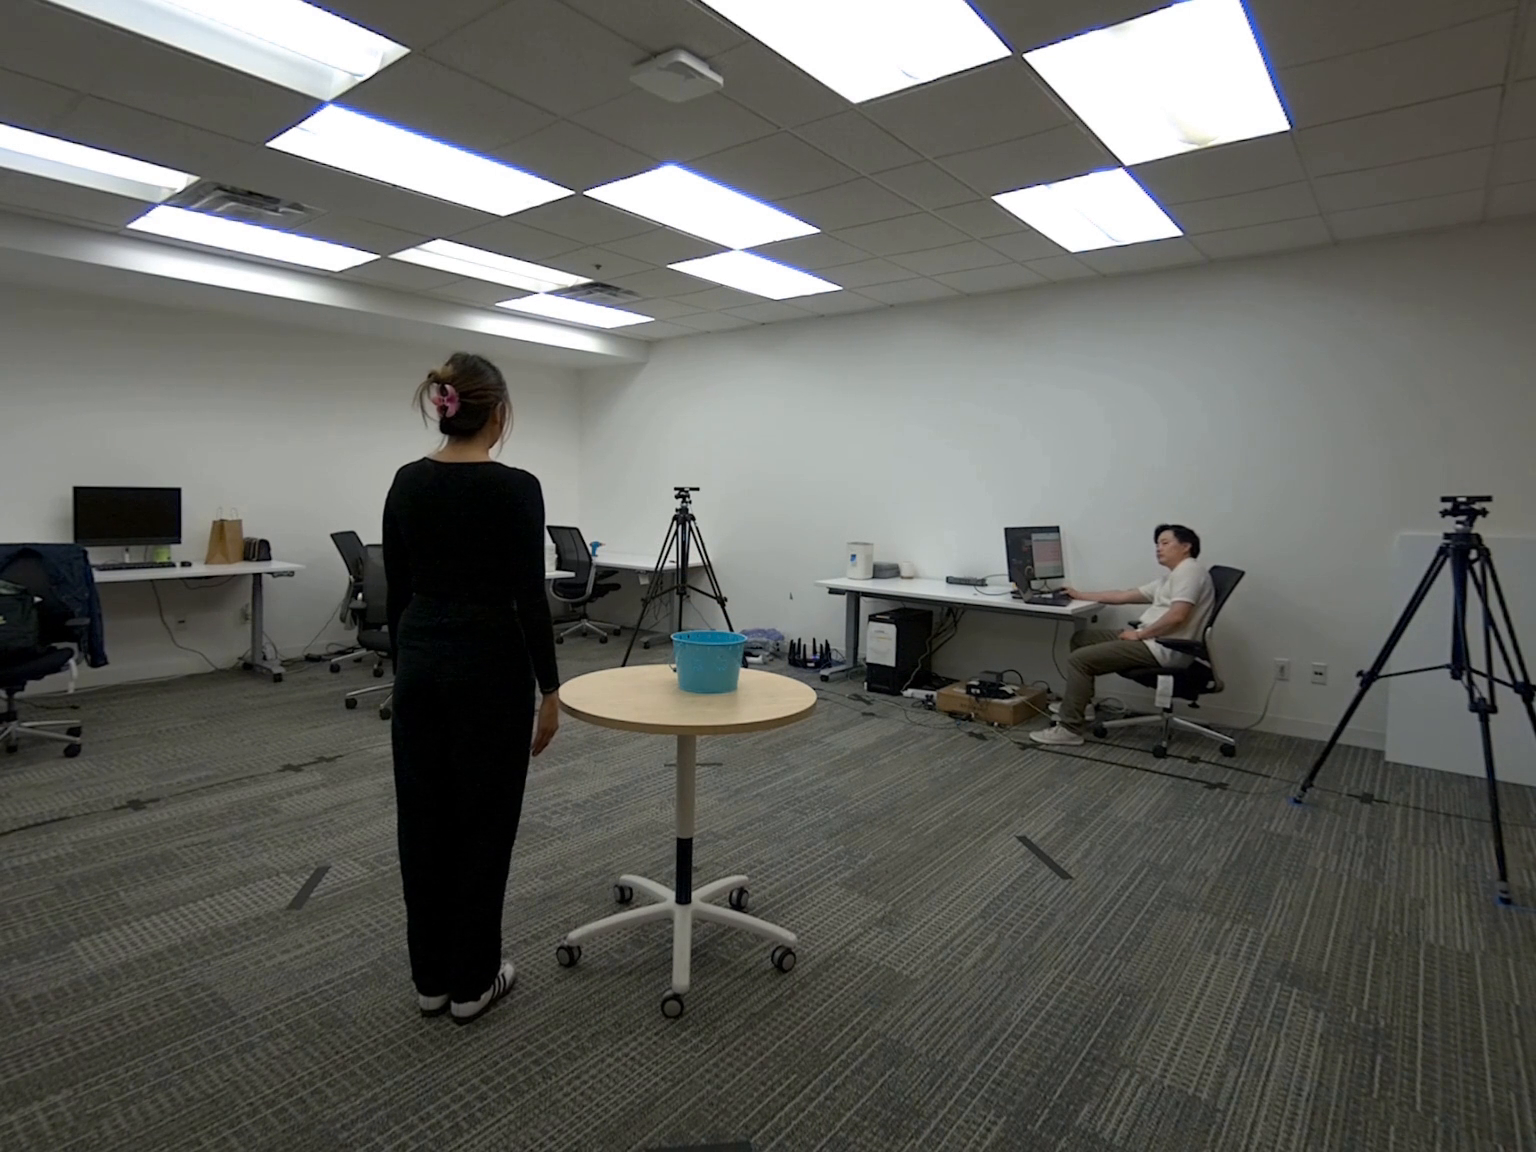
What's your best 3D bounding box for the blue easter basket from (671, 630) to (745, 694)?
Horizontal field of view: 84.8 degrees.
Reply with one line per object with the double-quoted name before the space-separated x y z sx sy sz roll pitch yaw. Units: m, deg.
"blue easter basket" -0.187 0.264 2.588 0.243 0.155 0.245 0 5 -2
